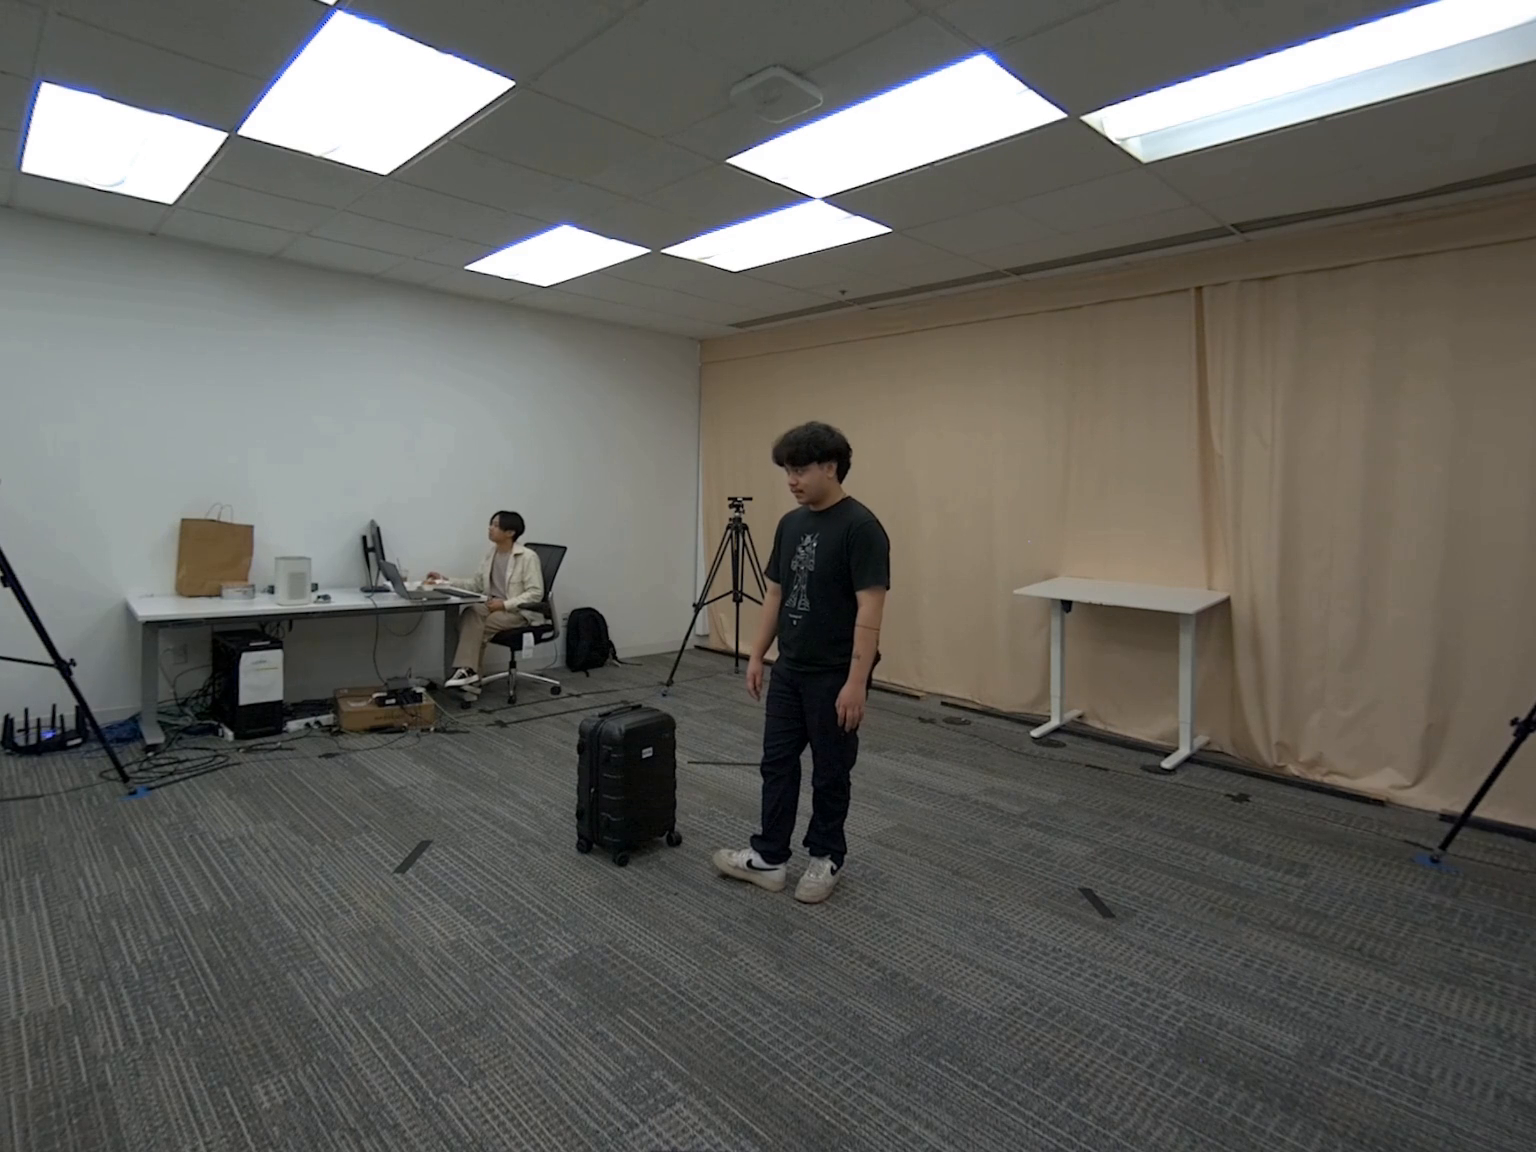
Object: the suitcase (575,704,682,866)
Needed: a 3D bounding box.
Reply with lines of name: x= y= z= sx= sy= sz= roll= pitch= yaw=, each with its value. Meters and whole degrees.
suitcase: x=-0.560 y=0.803 z=3.334 sx=0.254 sy=0.548 sz=0.367 roll=2 pitch=3 yaw=39
